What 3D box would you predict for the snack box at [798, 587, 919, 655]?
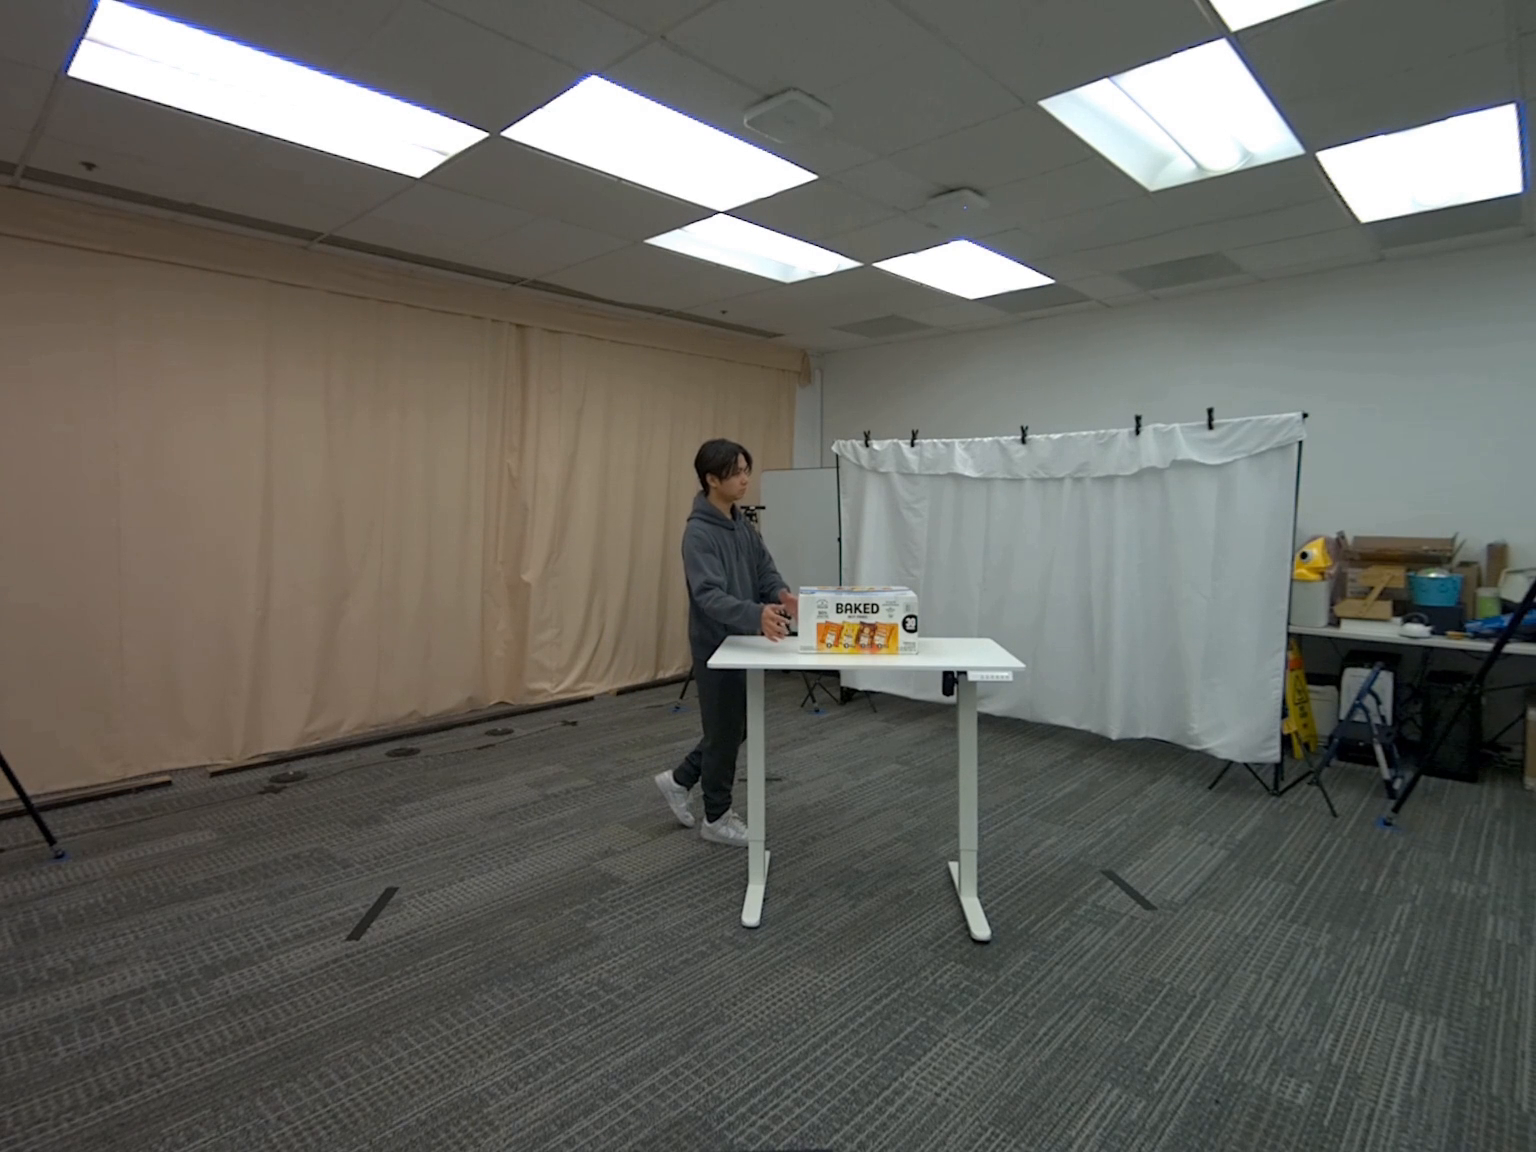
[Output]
[{"bbox_3d":[0.326,0.156,3.037,0.408,0.205,0.339,0,3,5],"label":"snack box"}]
